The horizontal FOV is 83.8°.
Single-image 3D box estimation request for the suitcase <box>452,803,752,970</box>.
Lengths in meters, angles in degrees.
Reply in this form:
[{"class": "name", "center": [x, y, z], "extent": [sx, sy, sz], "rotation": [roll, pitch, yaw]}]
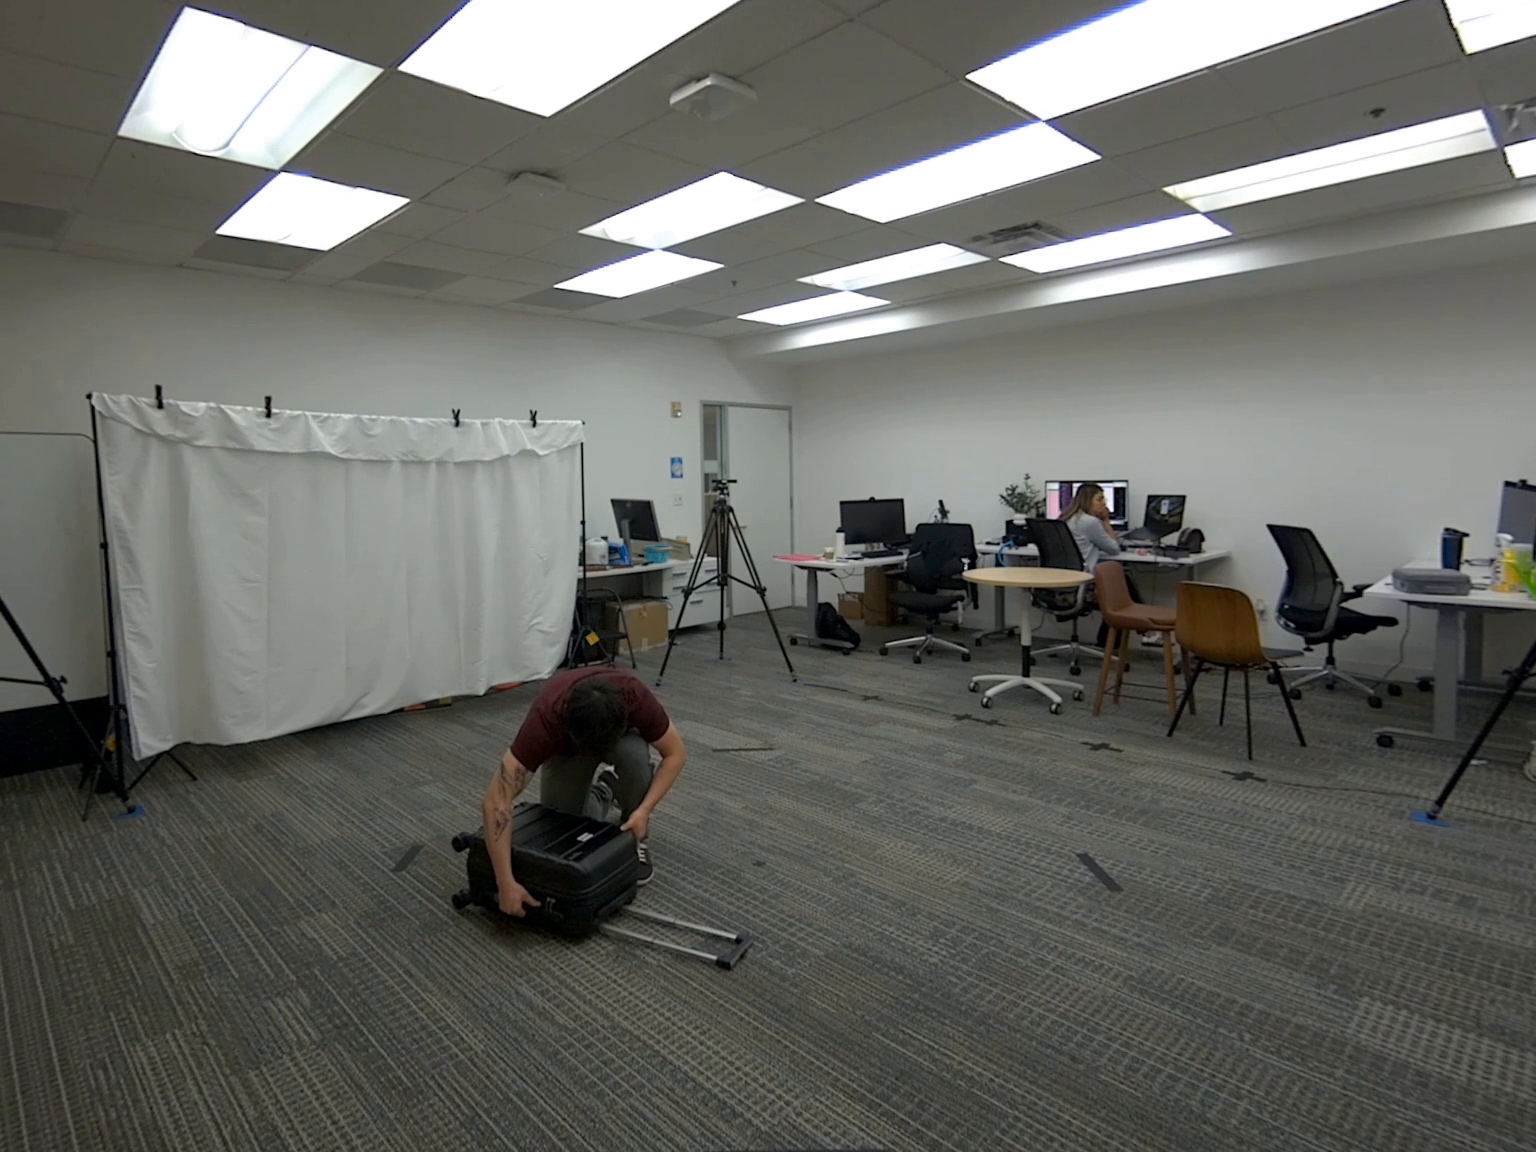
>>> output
[{"class": "suitcase", "center": [-0.531, 0.974, 2.722], "extent": [1.002, 0.256, 0.376], "rotation": [3, 4, 25]}]
